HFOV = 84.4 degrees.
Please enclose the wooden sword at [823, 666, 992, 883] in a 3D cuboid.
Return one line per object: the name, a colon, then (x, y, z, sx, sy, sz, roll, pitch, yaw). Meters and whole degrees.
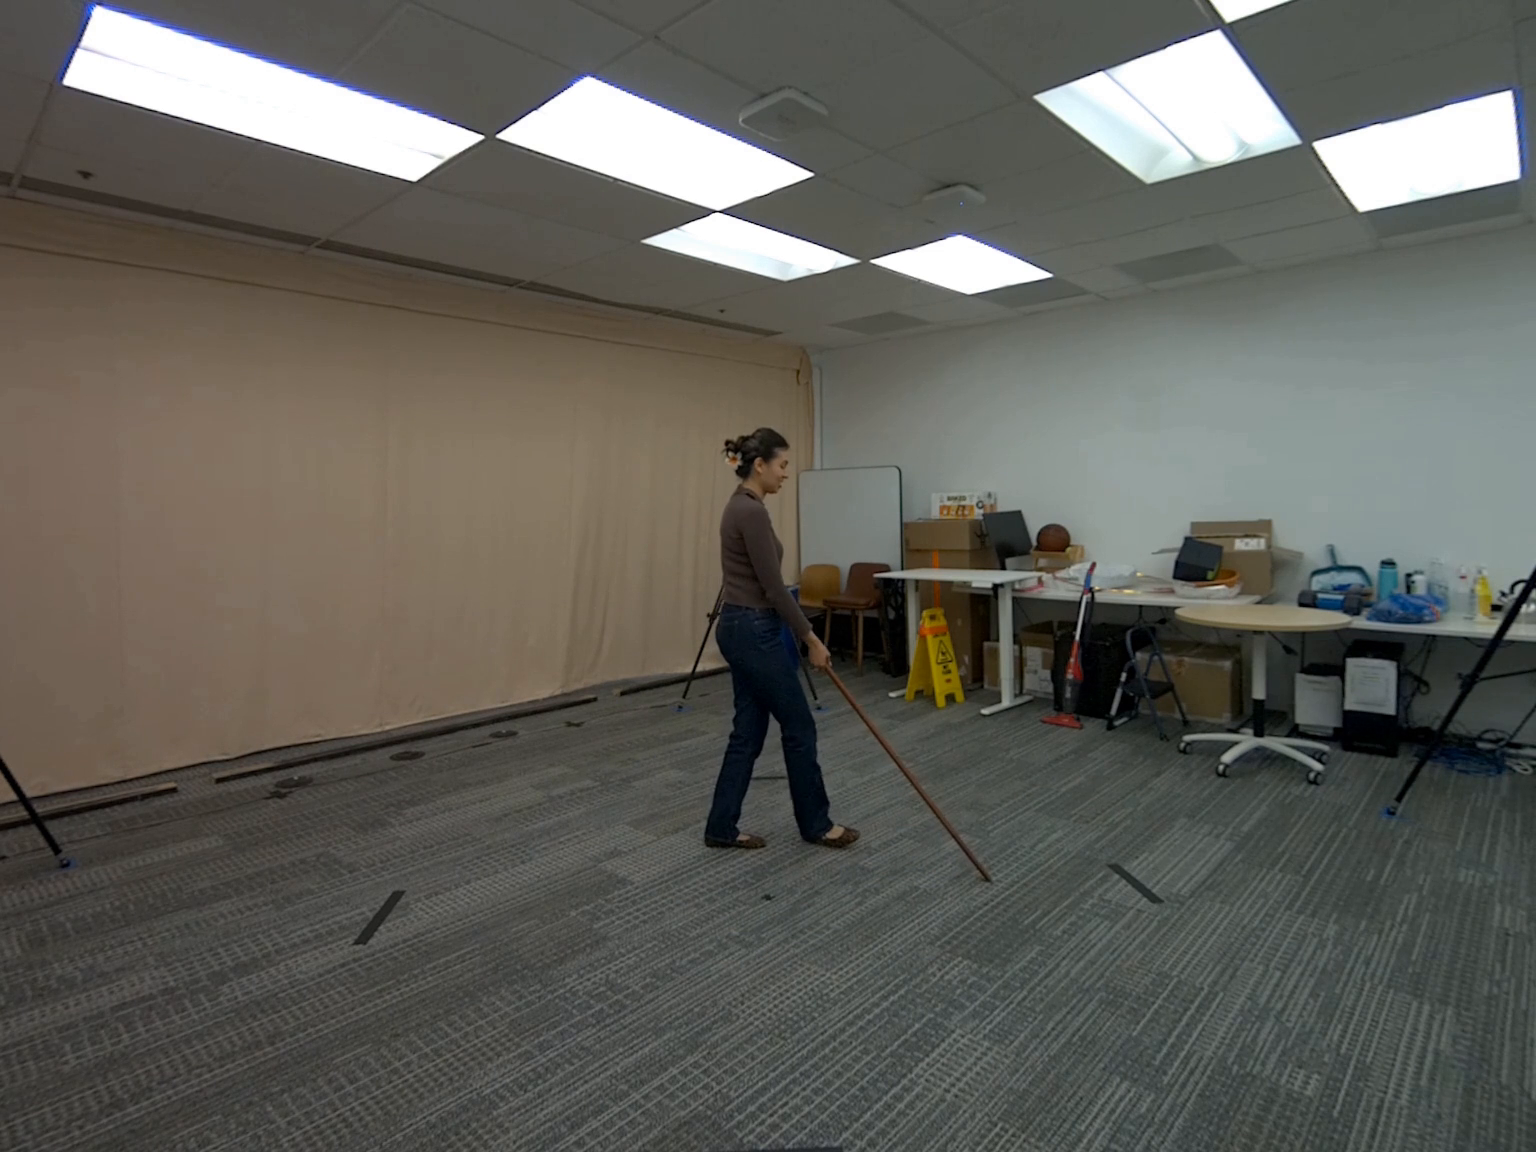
wooden sword: (0.525, 0.728, 3.205, 0.024, 1.040, 0.051, -34, -13, -18)
